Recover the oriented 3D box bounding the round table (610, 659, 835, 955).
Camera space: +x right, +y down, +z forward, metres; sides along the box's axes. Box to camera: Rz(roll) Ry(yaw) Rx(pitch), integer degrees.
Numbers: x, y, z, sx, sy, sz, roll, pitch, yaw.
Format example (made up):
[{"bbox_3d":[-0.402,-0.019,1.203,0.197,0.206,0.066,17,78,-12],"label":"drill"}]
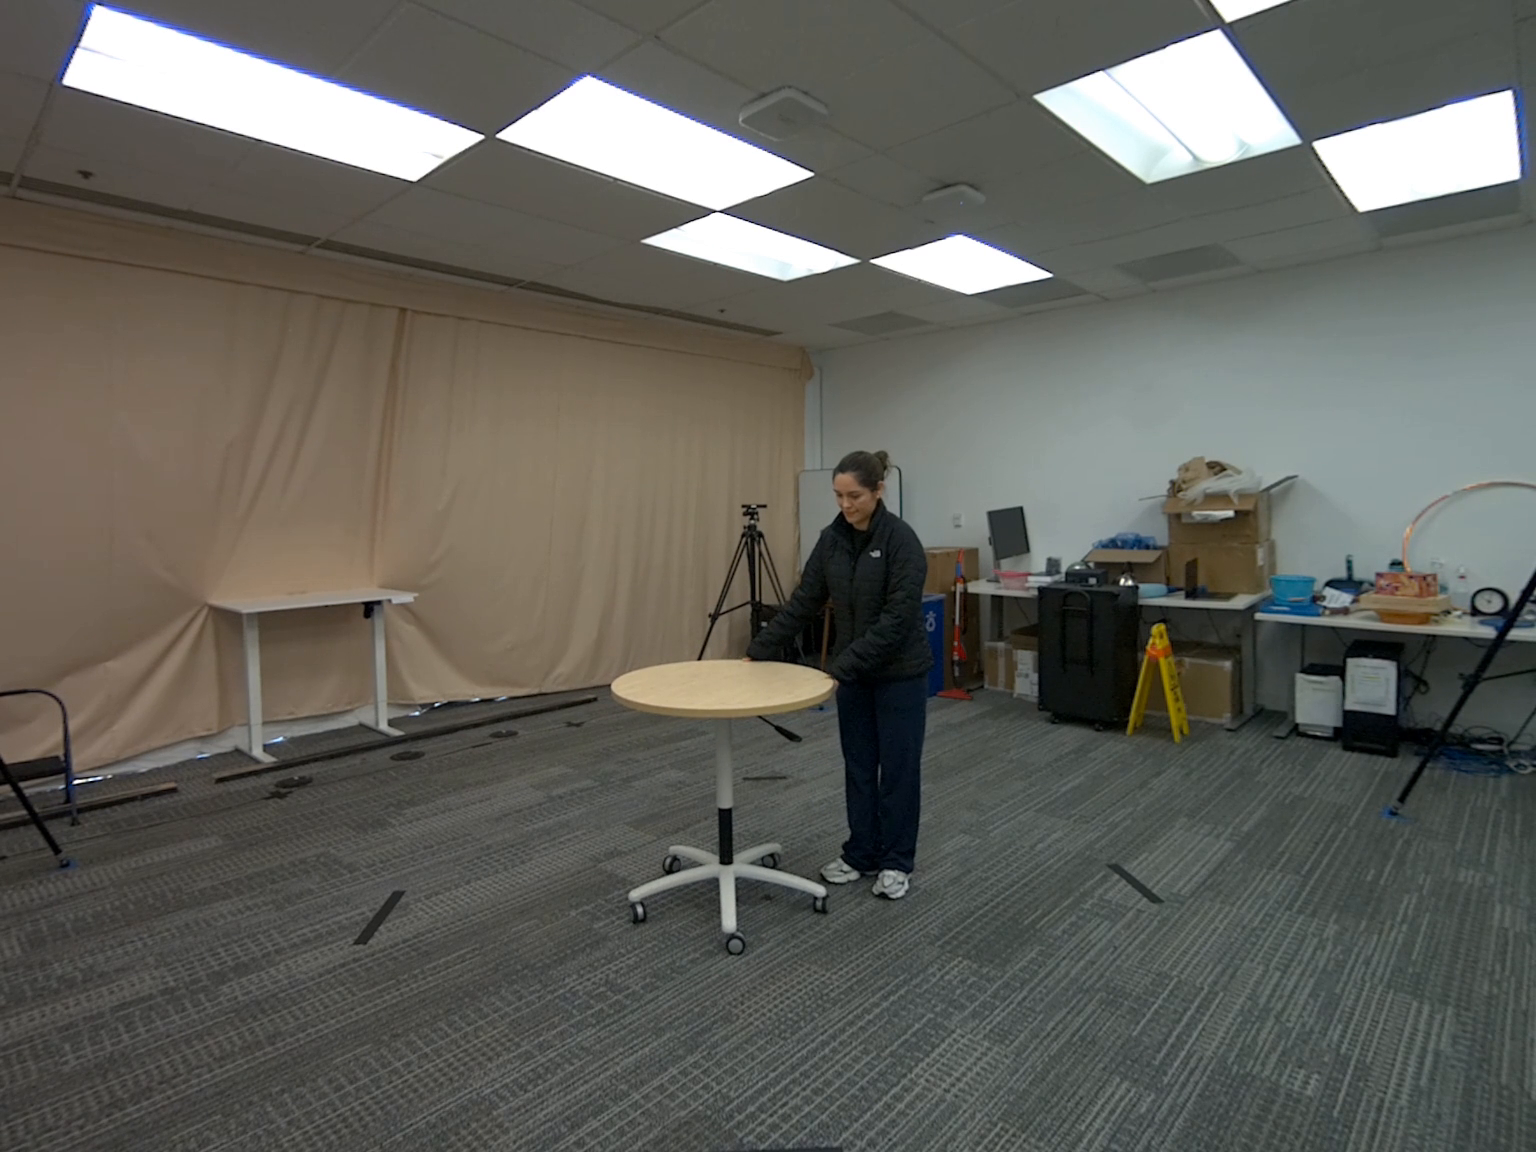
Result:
[{"bbox_3d":[-0.135,0.757,2.927,0.784,0.784,0.788,-1,4,-2],"label":"round table"}]
